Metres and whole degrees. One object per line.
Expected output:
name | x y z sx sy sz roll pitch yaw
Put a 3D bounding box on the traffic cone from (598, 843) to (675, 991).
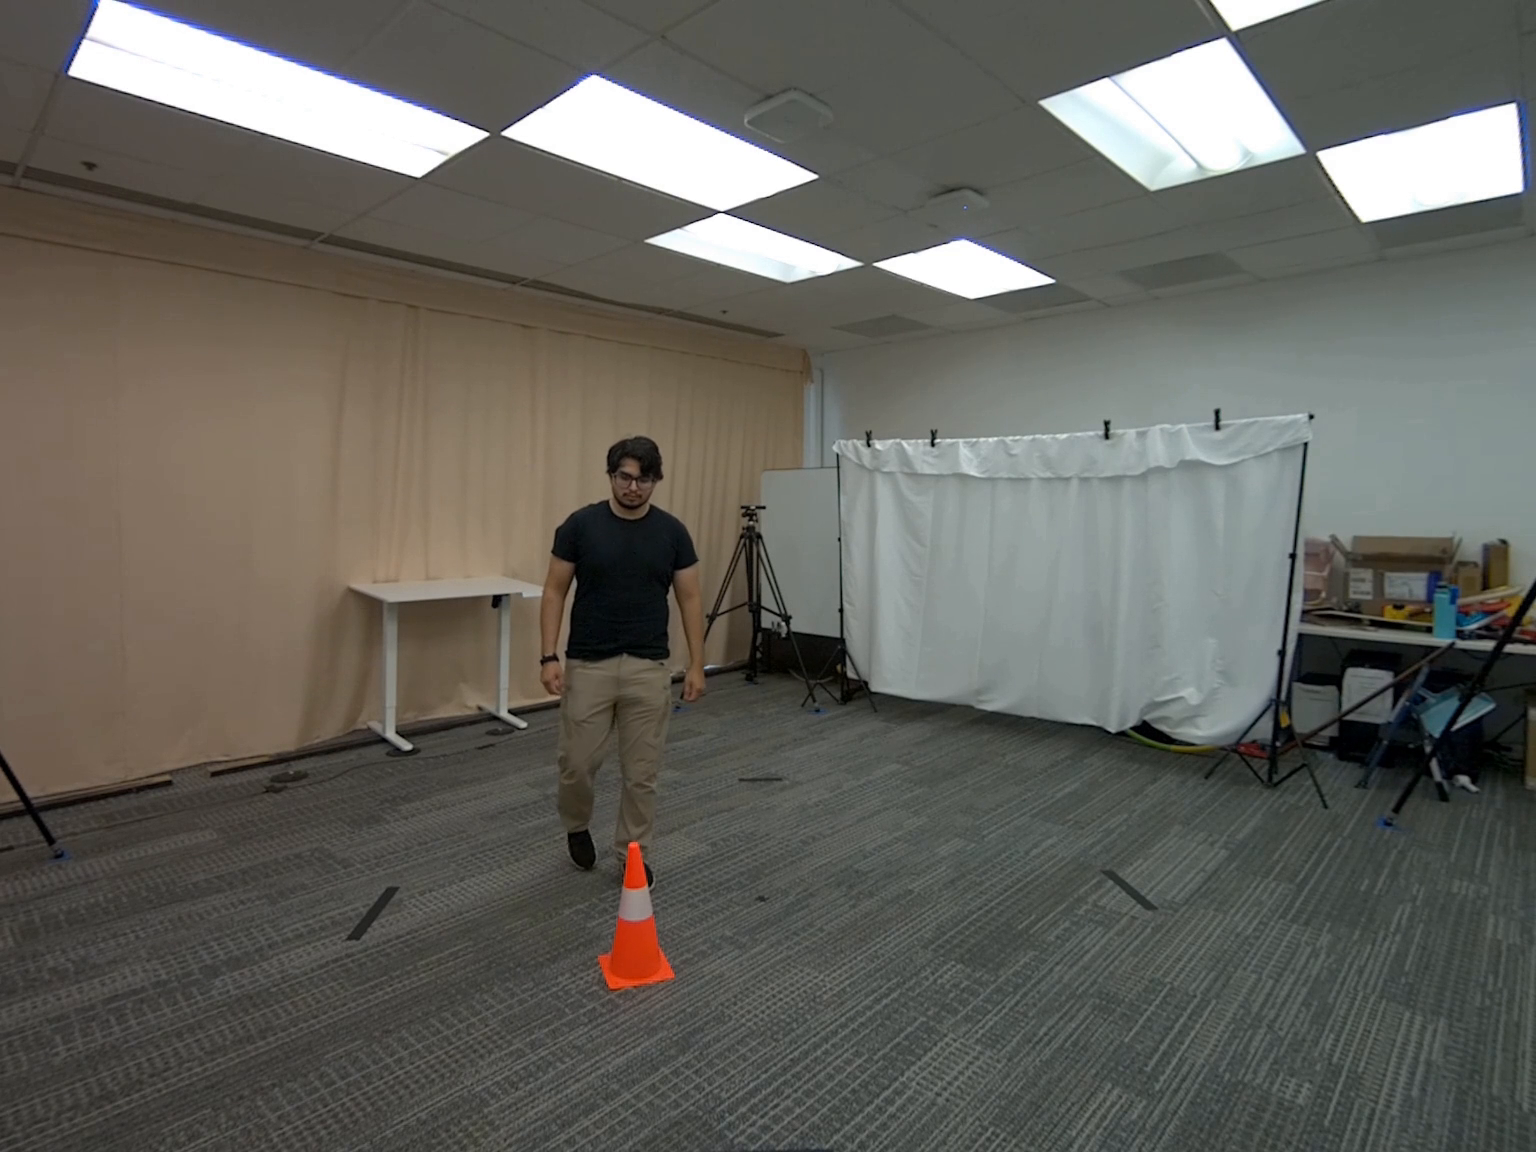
traffic cone | -0.391 0.997 2.533 0.201 0.383 0.208 0 4 -18
